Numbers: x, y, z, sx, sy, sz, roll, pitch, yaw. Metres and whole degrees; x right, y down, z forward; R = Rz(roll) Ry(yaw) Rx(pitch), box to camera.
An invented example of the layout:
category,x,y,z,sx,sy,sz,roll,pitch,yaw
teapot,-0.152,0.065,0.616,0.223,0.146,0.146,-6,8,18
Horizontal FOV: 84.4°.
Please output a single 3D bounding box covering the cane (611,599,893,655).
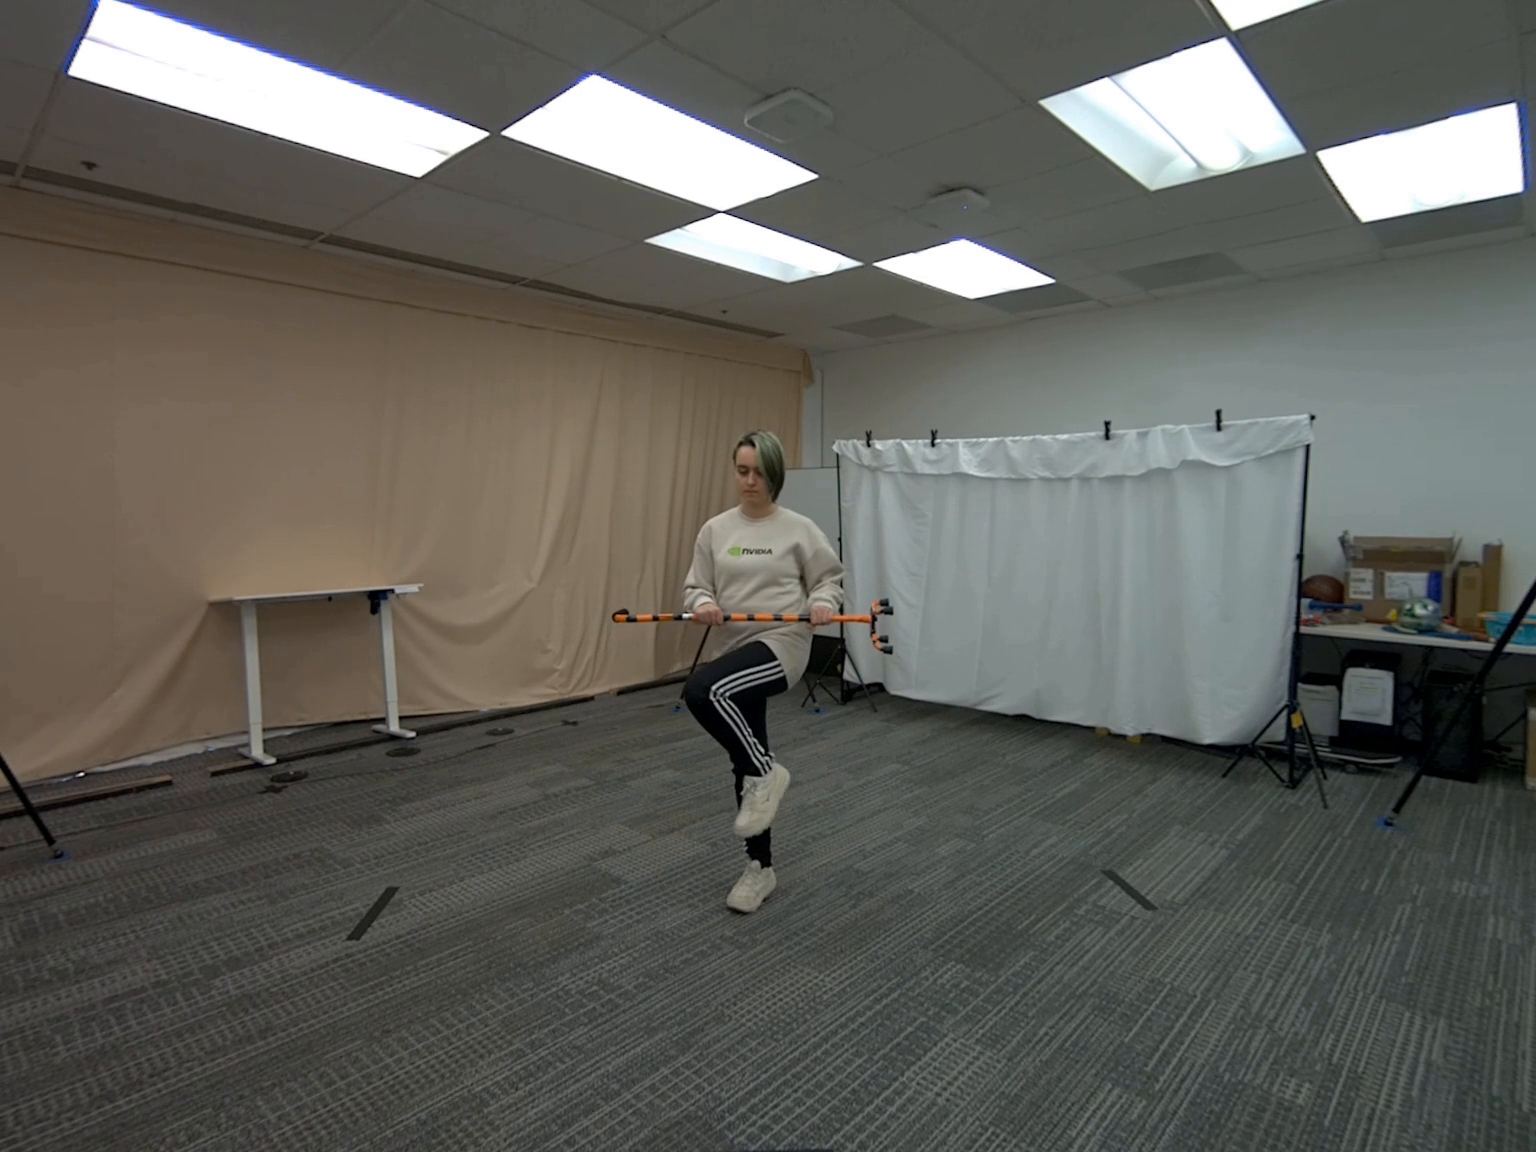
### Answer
category,x,y,z,sx,sy,sz,roll,pitch,yaw
cane,-0.079,0.157,2.726,0.915,0.151,0.205,1,6,7
